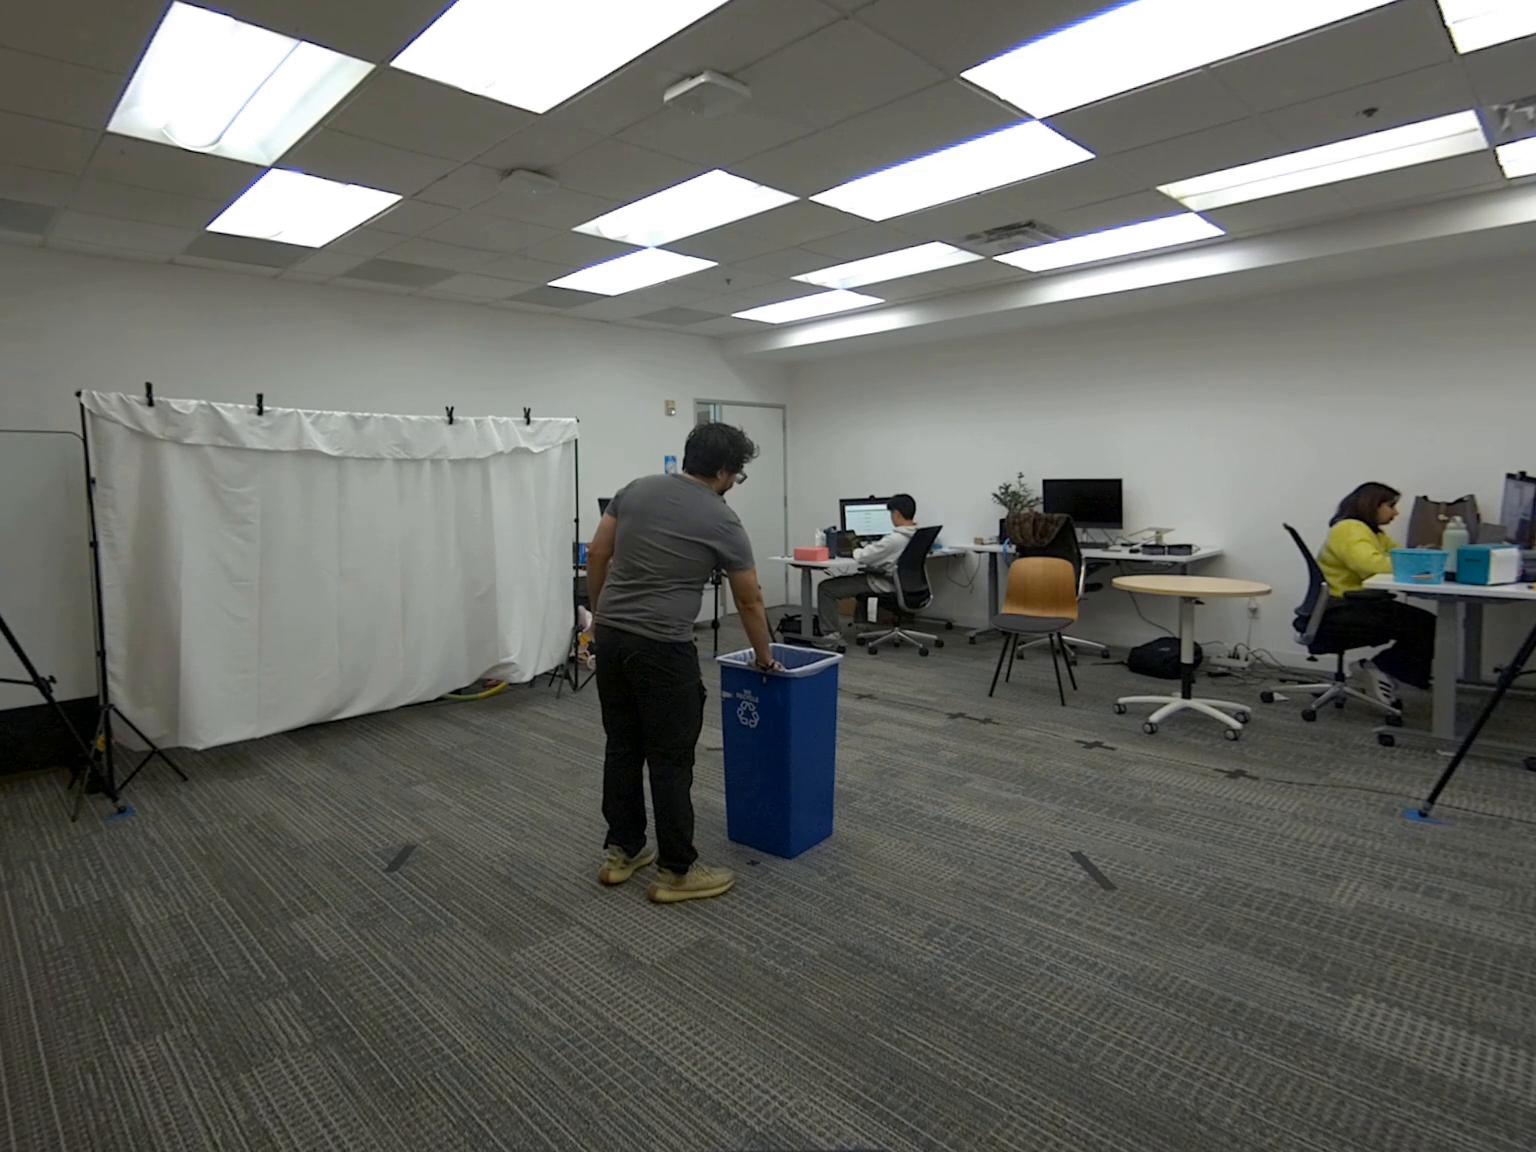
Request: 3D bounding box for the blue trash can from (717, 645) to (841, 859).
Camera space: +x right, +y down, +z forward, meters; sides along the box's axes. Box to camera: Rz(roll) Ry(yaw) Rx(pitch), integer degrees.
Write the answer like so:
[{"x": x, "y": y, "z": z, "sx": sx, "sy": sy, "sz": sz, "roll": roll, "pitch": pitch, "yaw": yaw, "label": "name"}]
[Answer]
[{"x": 0.057, "y": 0.659, "z": 3.303, "sx": 0.385, "sy": 0.711, "sz": 0.368, "roll": 3, "pitch": 5, "yaw": 39, "label": "blue trash can"}]
